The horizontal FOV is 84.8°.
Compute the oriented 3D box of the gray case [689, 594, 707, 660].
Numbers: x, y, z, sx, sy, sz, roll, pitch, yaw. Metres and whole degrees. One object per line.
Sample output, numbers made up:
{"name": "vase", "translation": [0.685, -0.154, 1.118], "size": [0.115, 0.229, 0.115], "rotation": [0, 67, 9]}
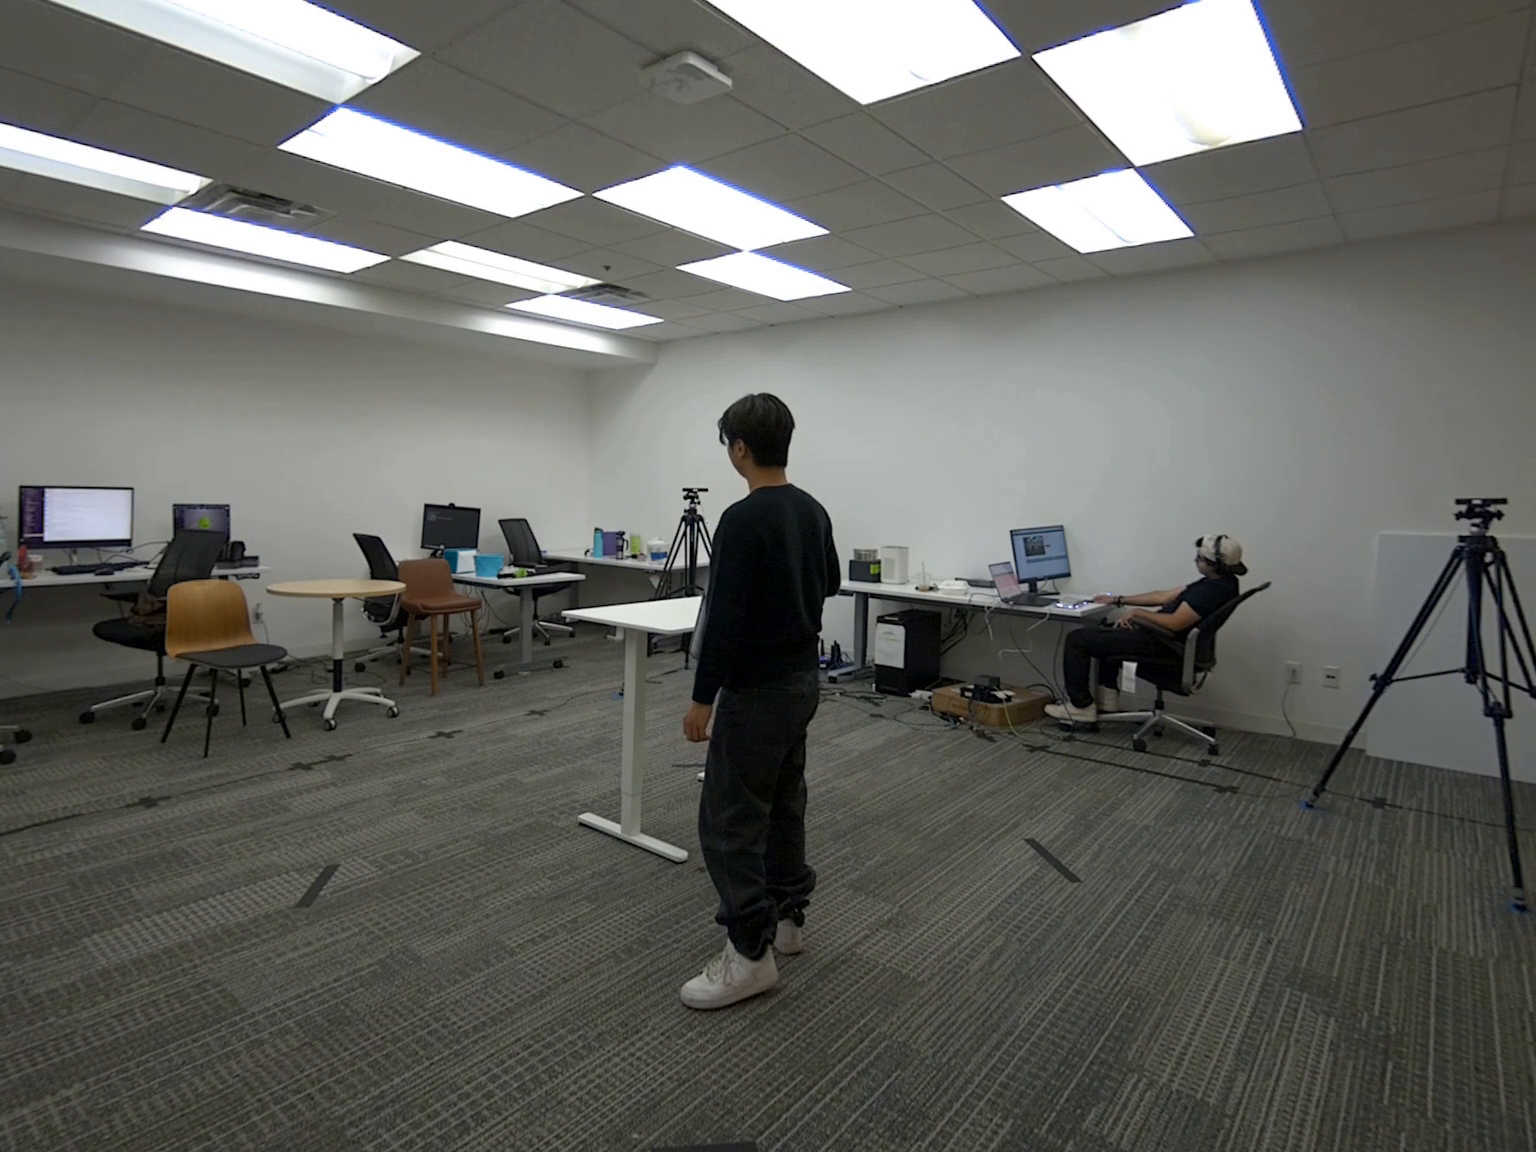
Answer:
{"name": "gray case", "translation": [-0.119, 0.172, 2.856], "size": [0.254, 0.262, 0.105], "rotation": [12, -8, -9]}
